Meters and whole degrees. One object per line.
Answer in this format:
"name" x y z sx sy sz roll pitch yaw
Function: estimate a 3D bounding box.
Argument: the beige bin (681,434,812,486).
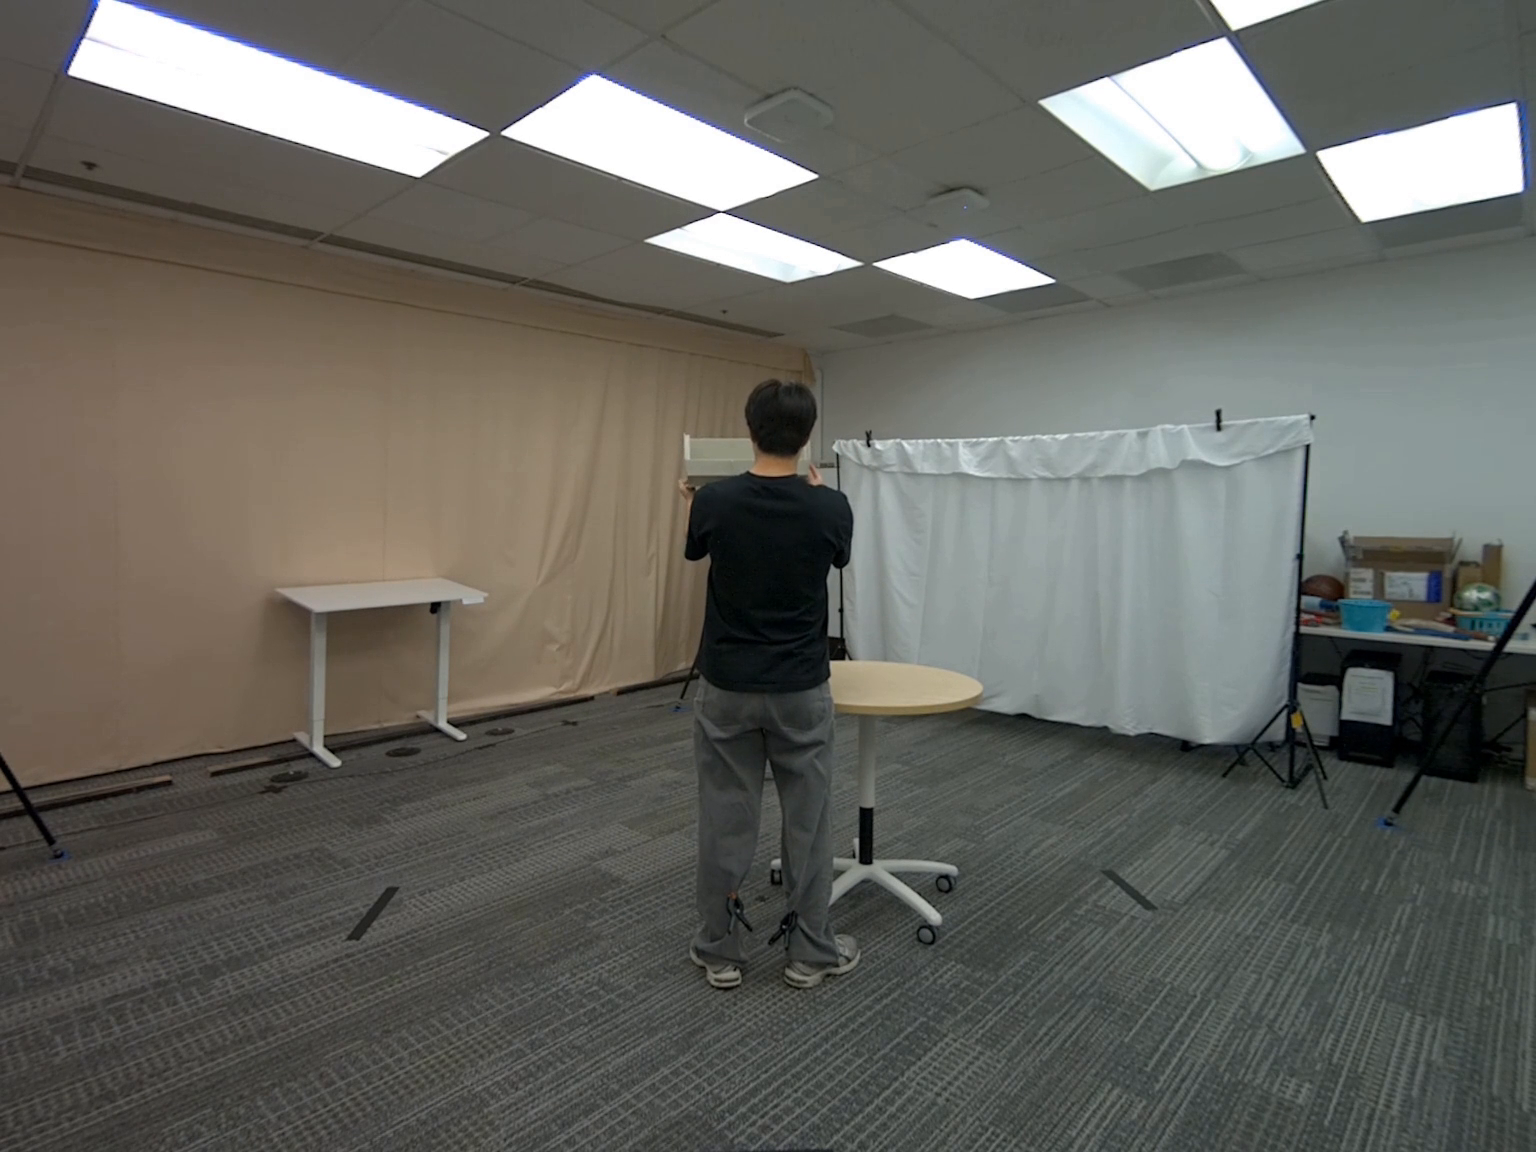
"beige bin" -0.079 -0.407 2.954 0.421 0.189 0.379 -1 2 -4
